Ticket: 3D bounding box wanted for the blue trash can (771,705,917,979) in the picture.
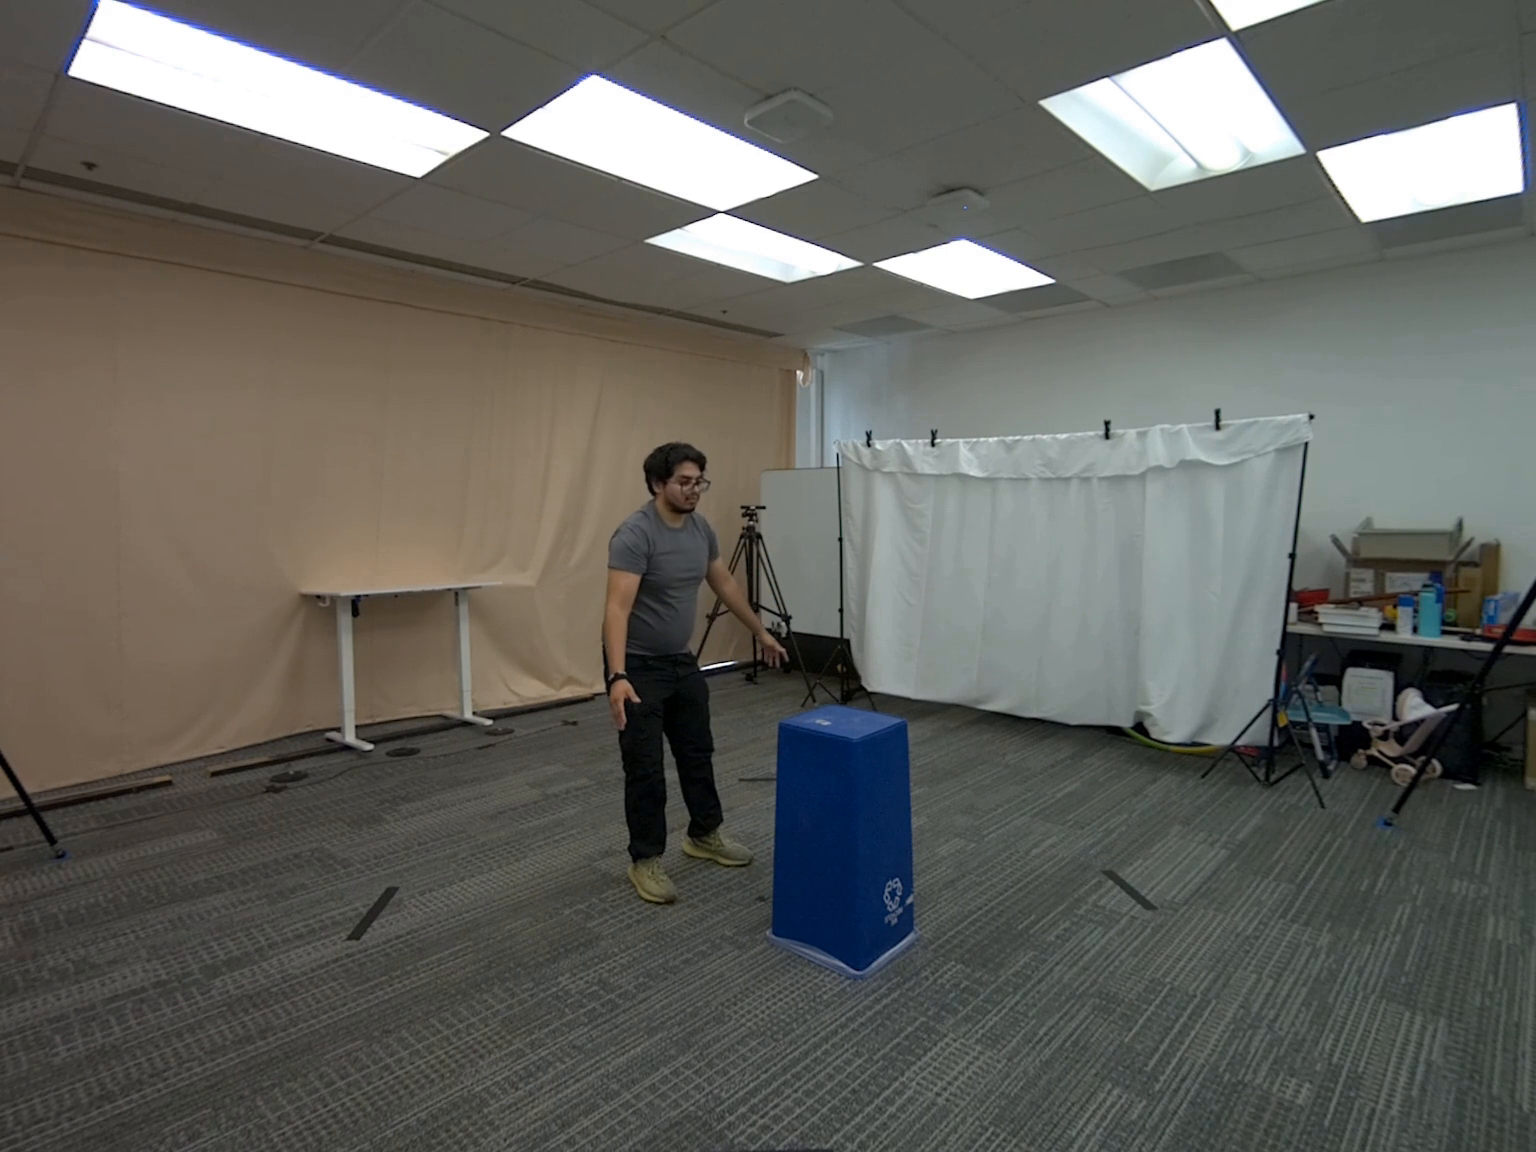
[{"bbox_3d":[0.235,0.814,2.690,0.390,0.712,0.363,2,5,42],"label":"blue trash can"}]
